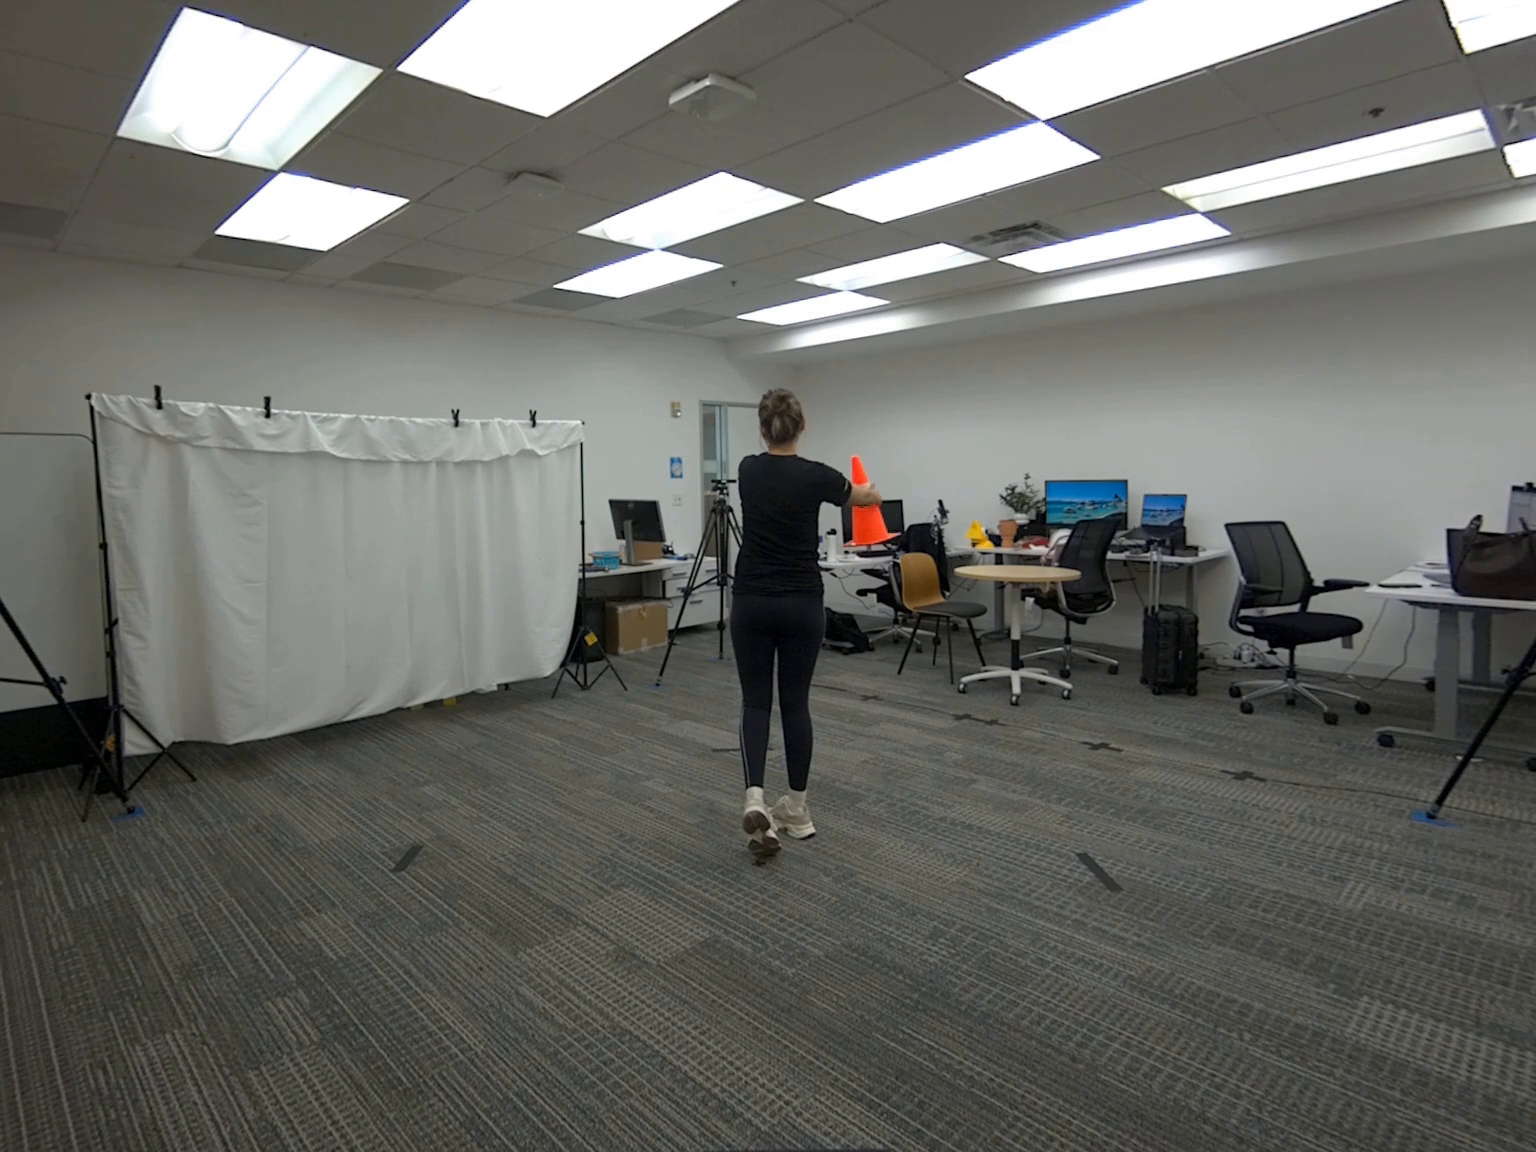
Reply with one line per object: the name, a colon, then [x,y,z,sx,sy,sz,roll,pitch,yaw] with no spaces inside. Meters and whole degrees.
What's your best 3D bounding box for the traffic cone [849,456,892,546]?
traffic cone: [0.417,-0.343,3.805,0.207,0.380,0.203,-8,10,23]
